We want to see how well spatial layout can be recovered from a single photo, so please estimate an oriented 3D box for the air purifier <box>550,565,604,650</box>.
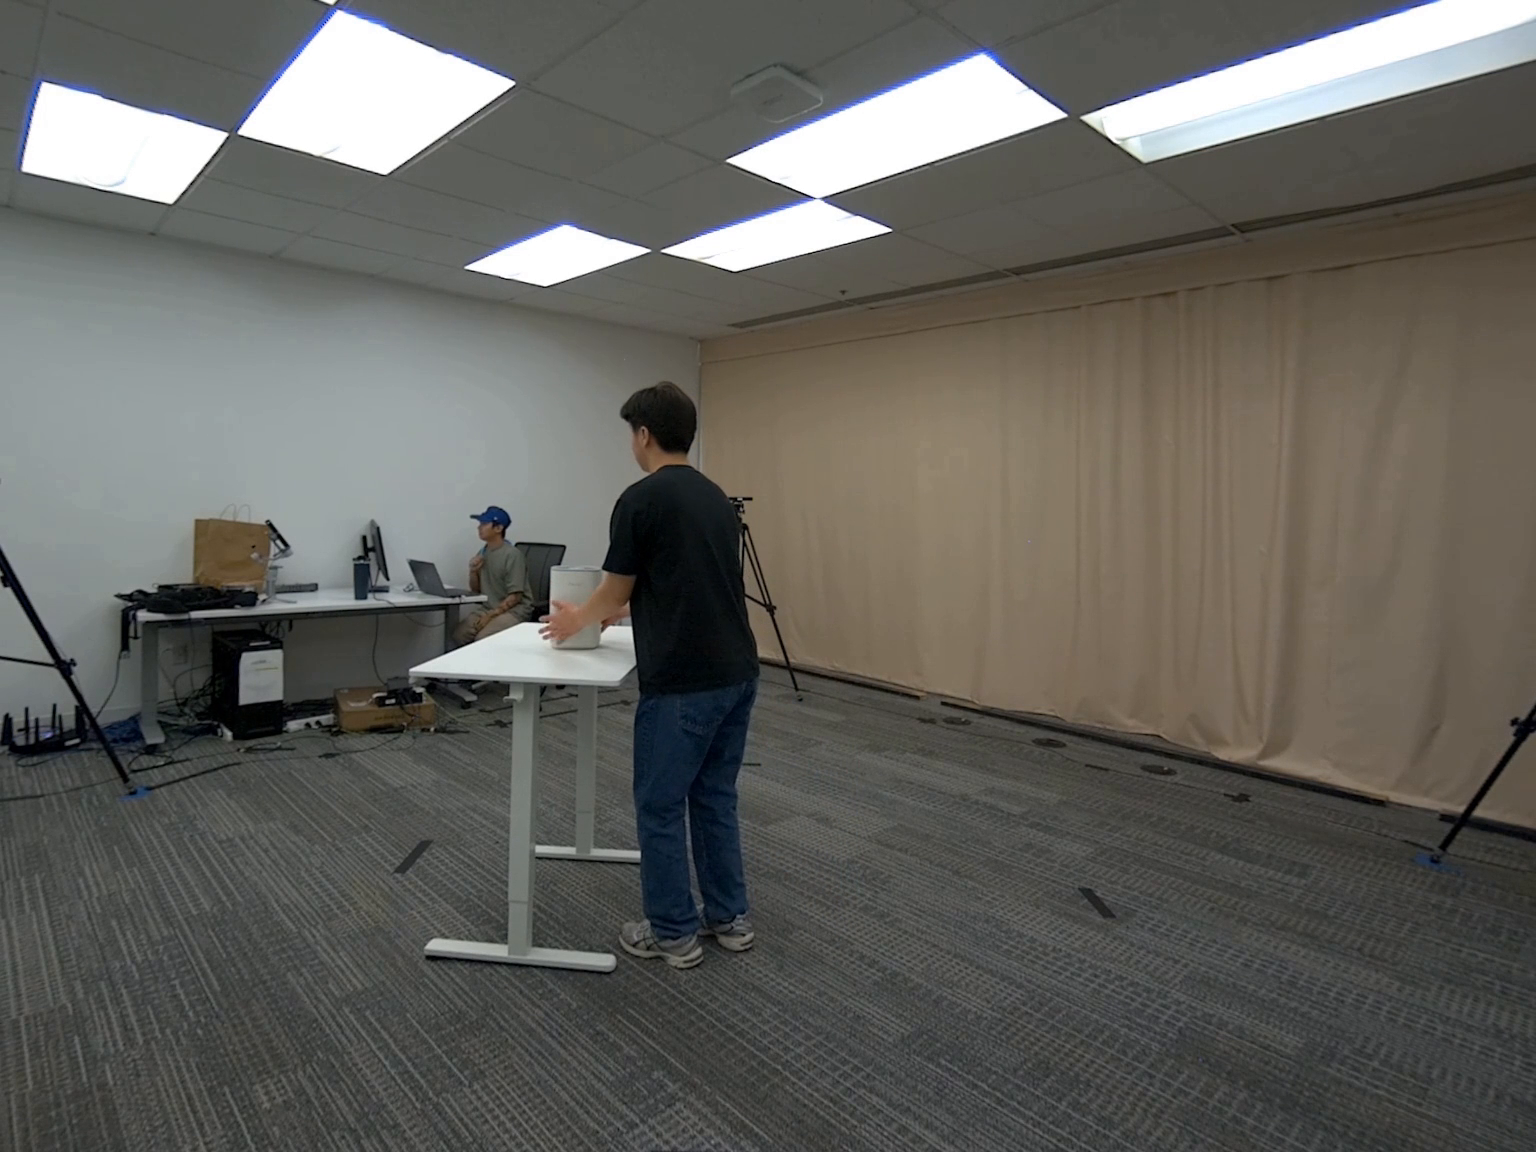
[{"bbox_3d":[-0.654,0.103,2.833,0.170,0.265,0.173,4,3,-8],"label":"air purifier"}]
